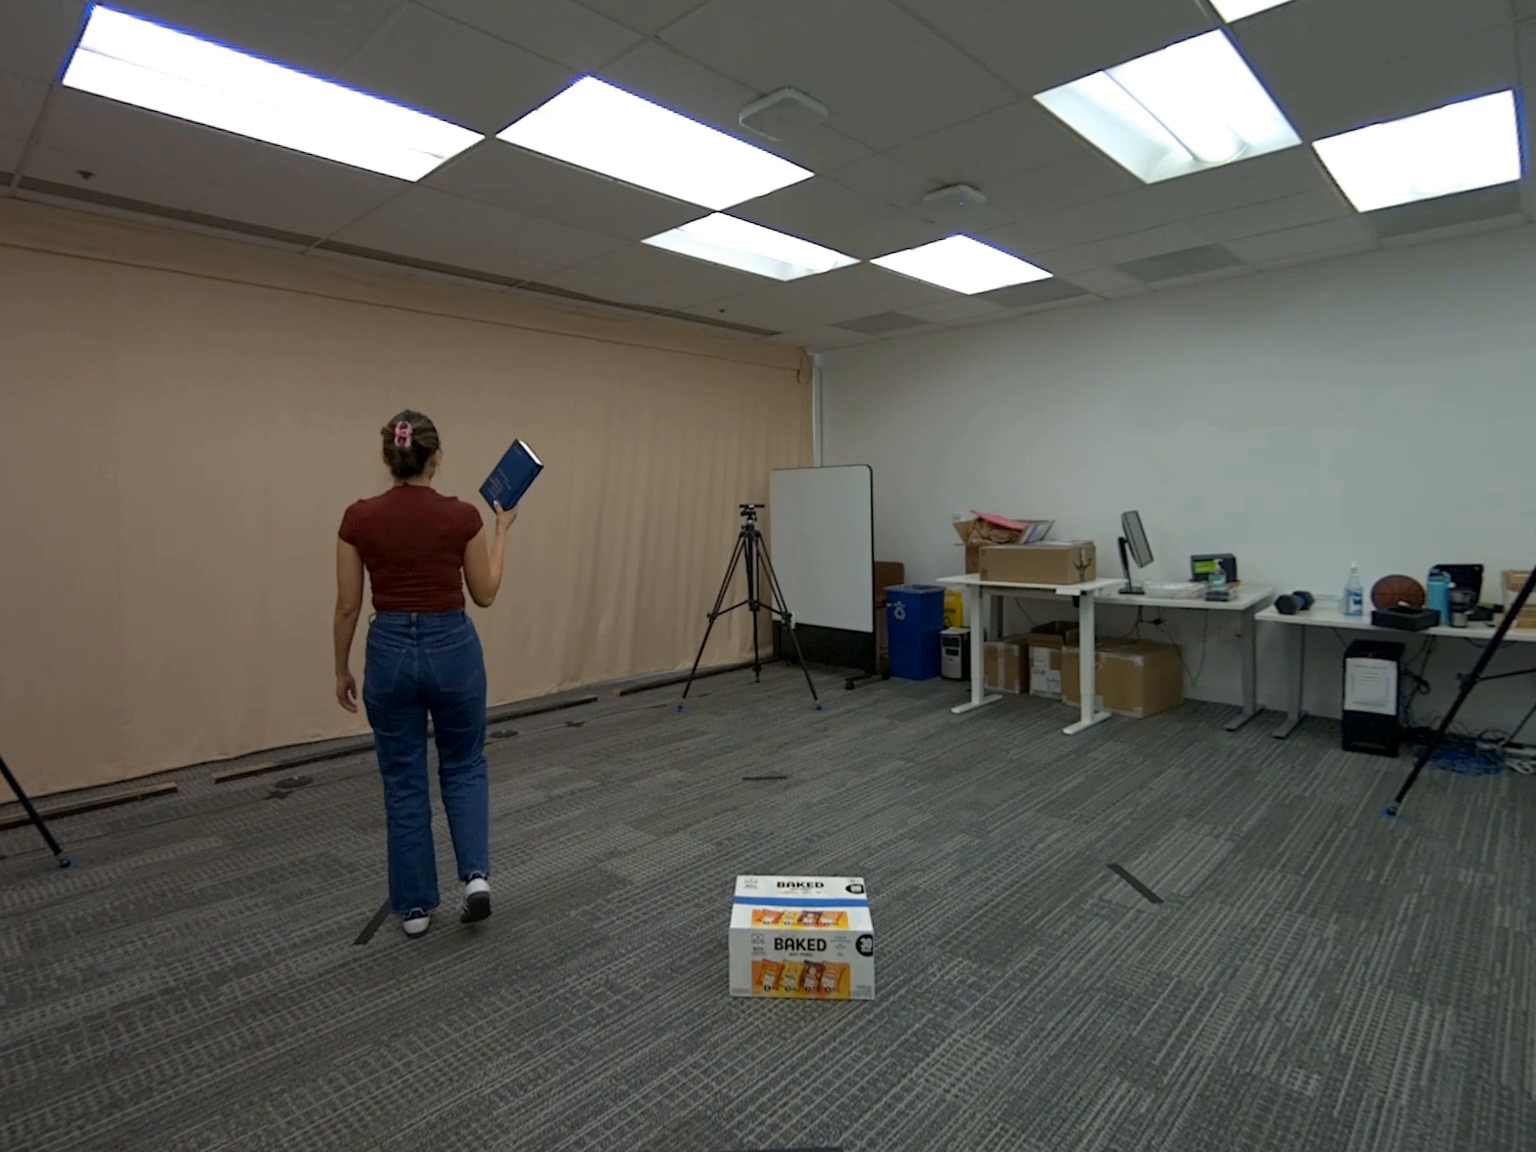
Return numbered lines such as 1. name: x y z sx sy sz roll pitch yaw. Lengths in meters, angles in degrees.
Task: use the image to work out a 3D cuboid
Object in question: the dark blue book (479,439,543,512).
1. dark blue book: -0.916 -0.351 3.013 0.169 0.245 0.043 47 12 34
